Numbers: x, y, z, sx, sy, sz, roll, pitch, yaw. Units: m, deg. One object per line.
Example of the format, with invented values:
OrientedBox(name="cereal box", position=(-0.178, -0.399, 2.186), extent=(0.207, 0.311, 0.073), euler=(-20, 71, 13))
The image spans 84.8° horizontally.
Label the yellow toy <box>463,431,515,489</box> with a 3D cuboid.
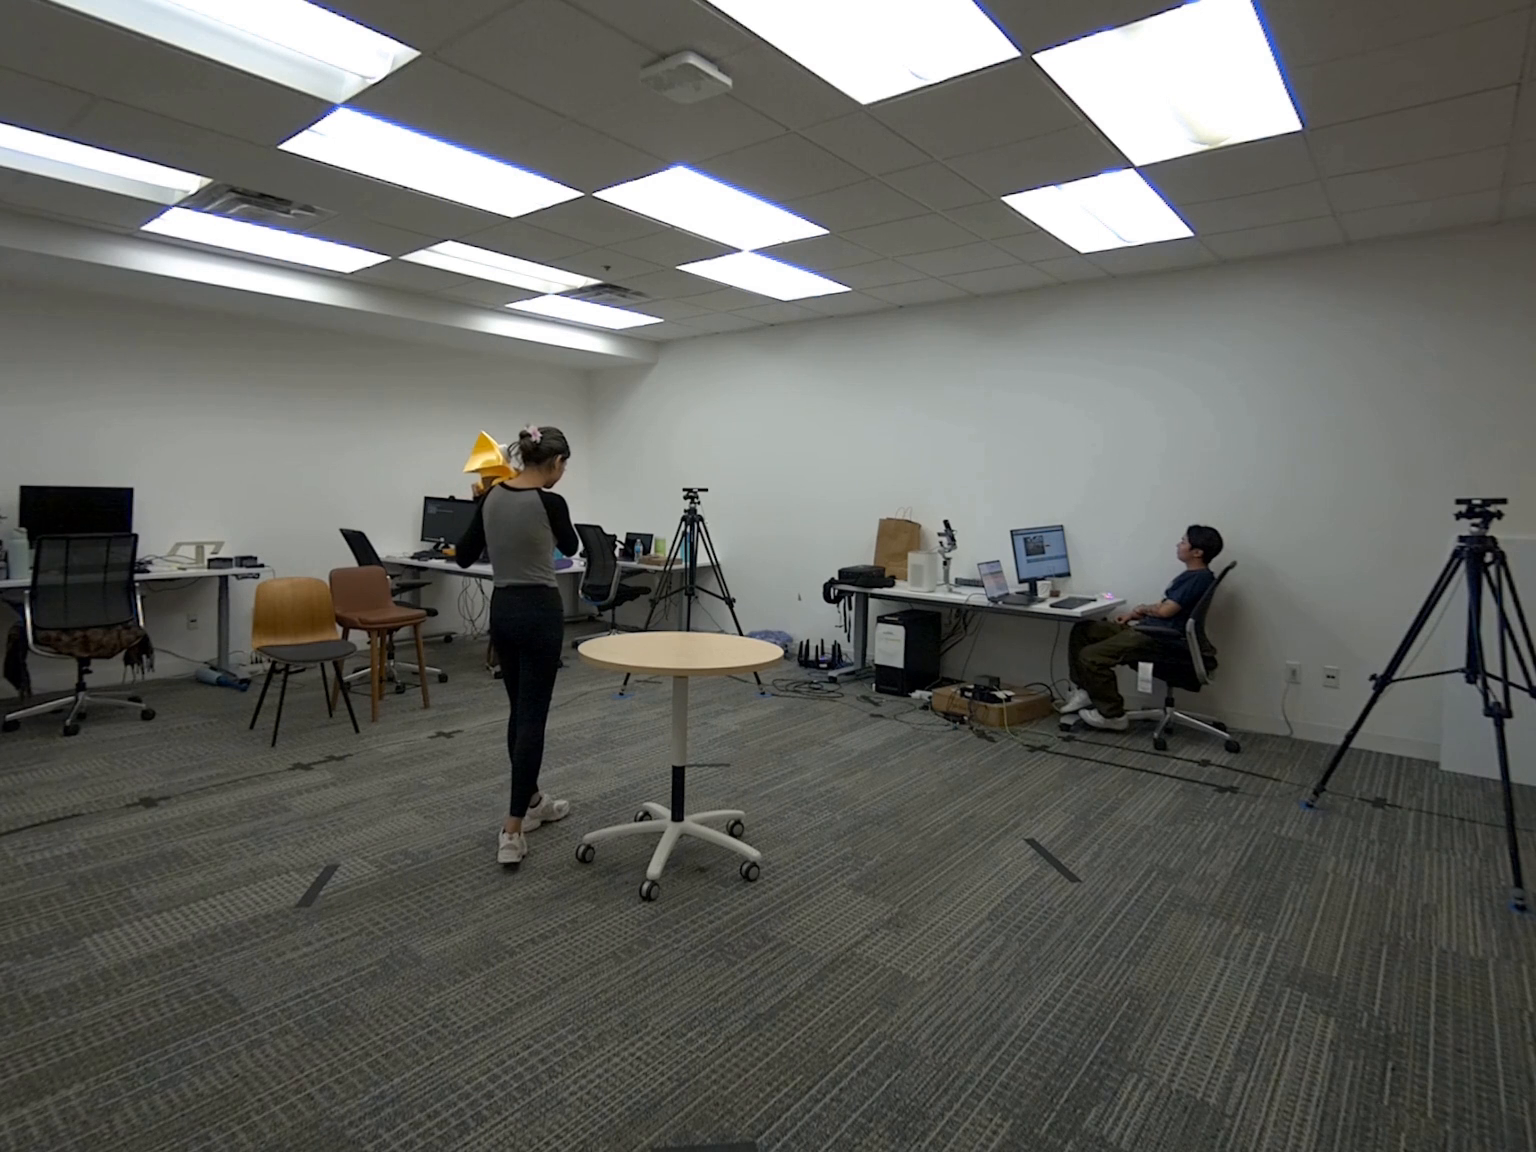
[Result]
OrientedBox(name="yellow toy", position=(-1.125, -0.482, 3.469), extent=(0.210, 0.230, 0.189), euler=(-7, 4, 30))
